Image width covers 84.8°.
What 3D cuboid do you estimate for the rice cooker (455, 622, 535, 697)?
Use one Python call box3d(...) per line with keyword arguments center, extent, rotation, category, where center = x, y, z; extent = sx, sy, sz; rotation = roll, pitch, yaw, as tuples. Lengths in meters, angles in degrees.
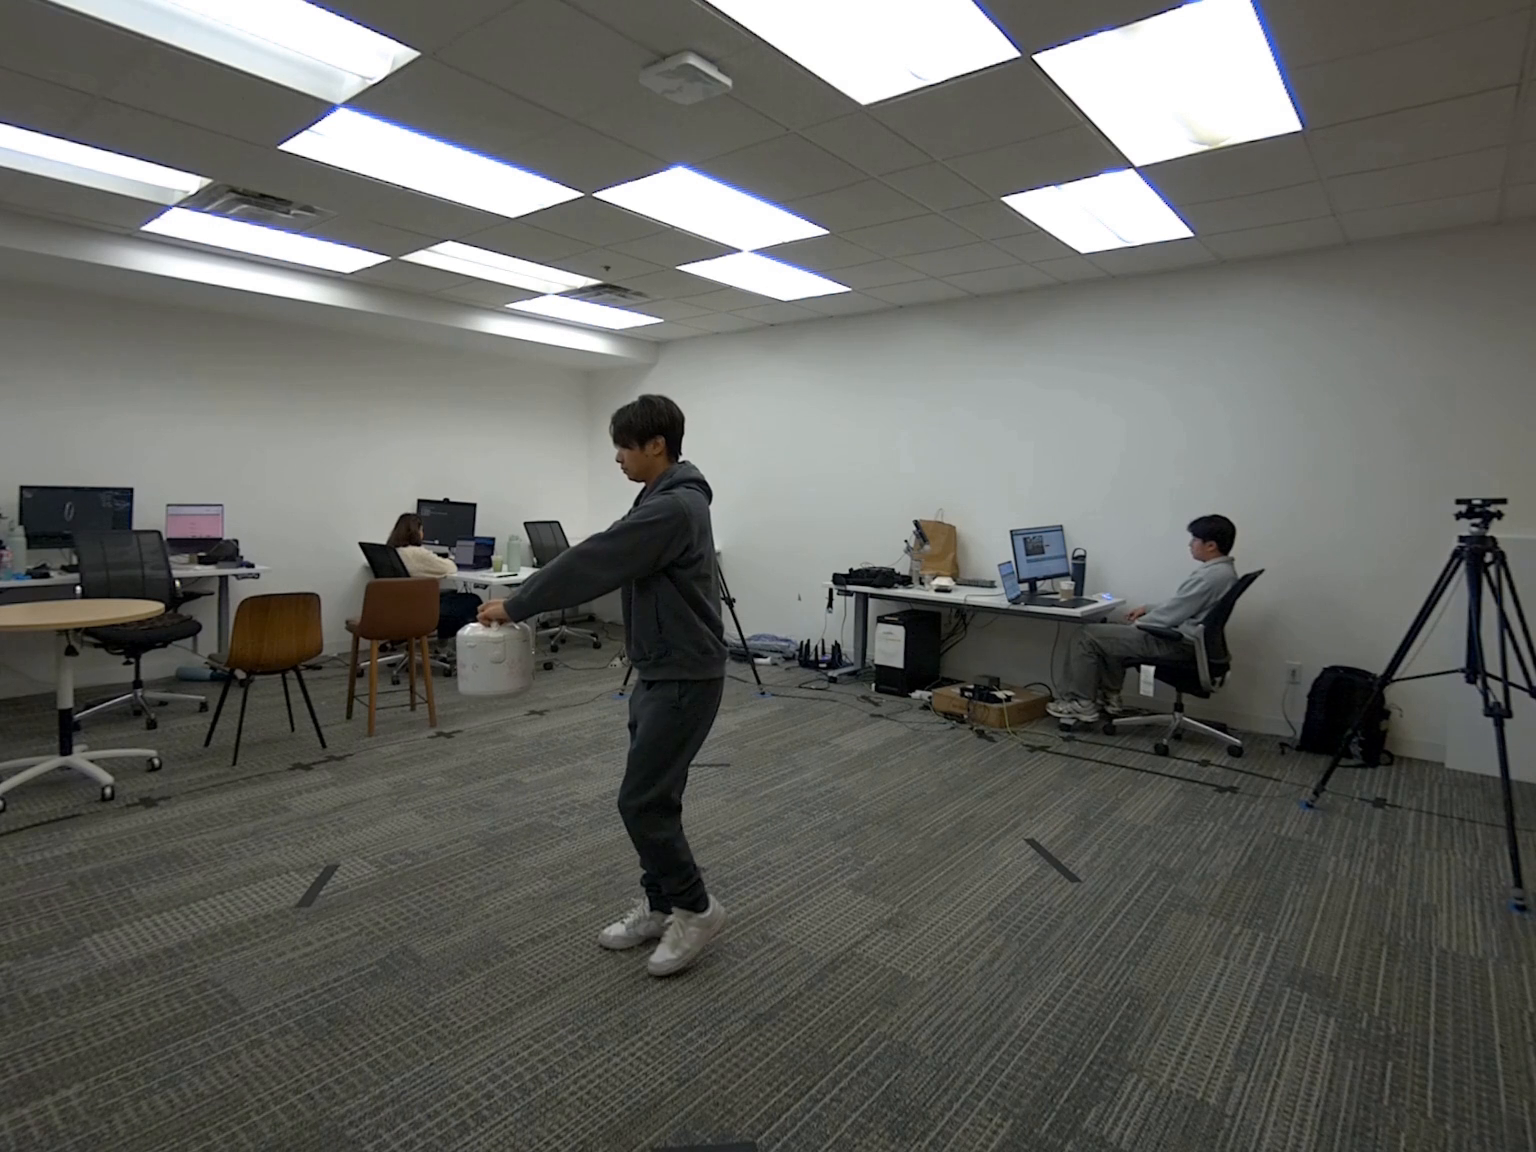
box3d(center=(-0.798, 0.226, 2.462), extent=(0.213, 0.232, 0.225), rotation=(-3, 3, -19), category="rice cooker")
